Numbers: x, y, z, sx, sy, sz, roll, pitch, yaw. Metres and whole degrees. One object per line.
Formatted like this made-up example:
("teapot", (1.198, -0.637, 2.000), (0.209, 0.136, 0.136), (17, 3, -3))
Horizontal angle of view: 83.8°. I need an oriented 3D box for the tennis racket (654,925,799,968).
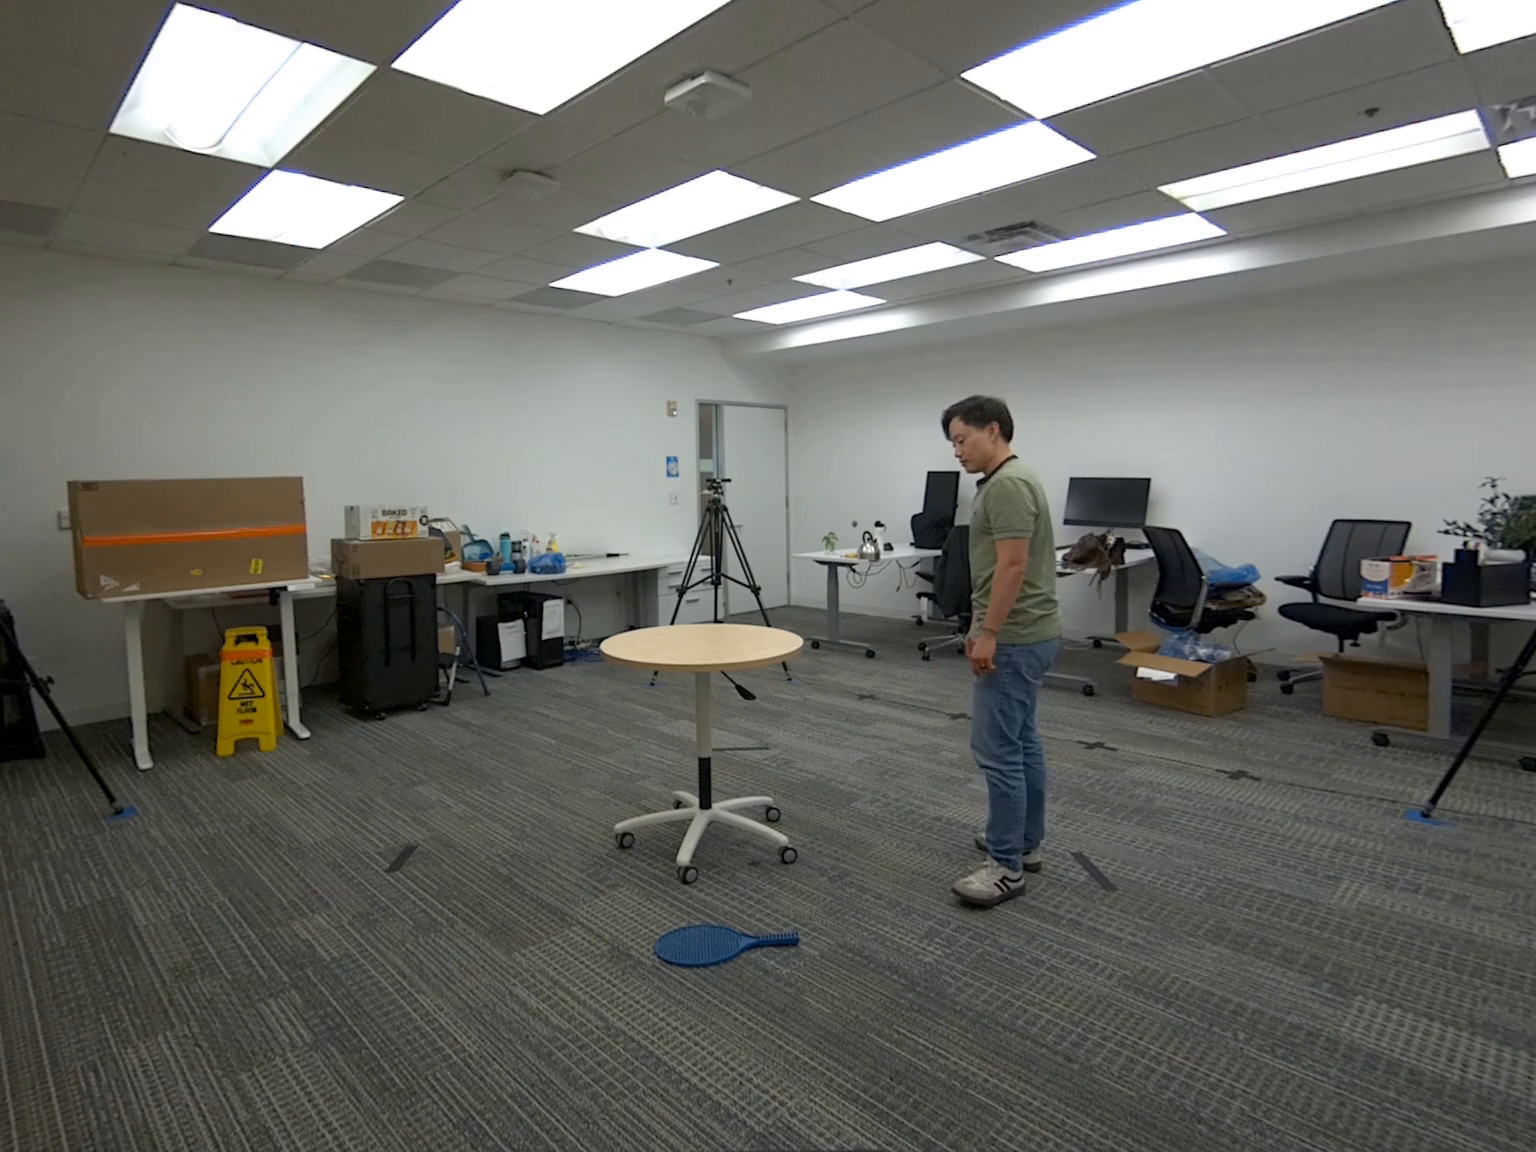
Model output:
("tennis racket", (-0.117, 1.097, 2.555), (0.432, 0.031, 0.215), (-2, 7, -1))
